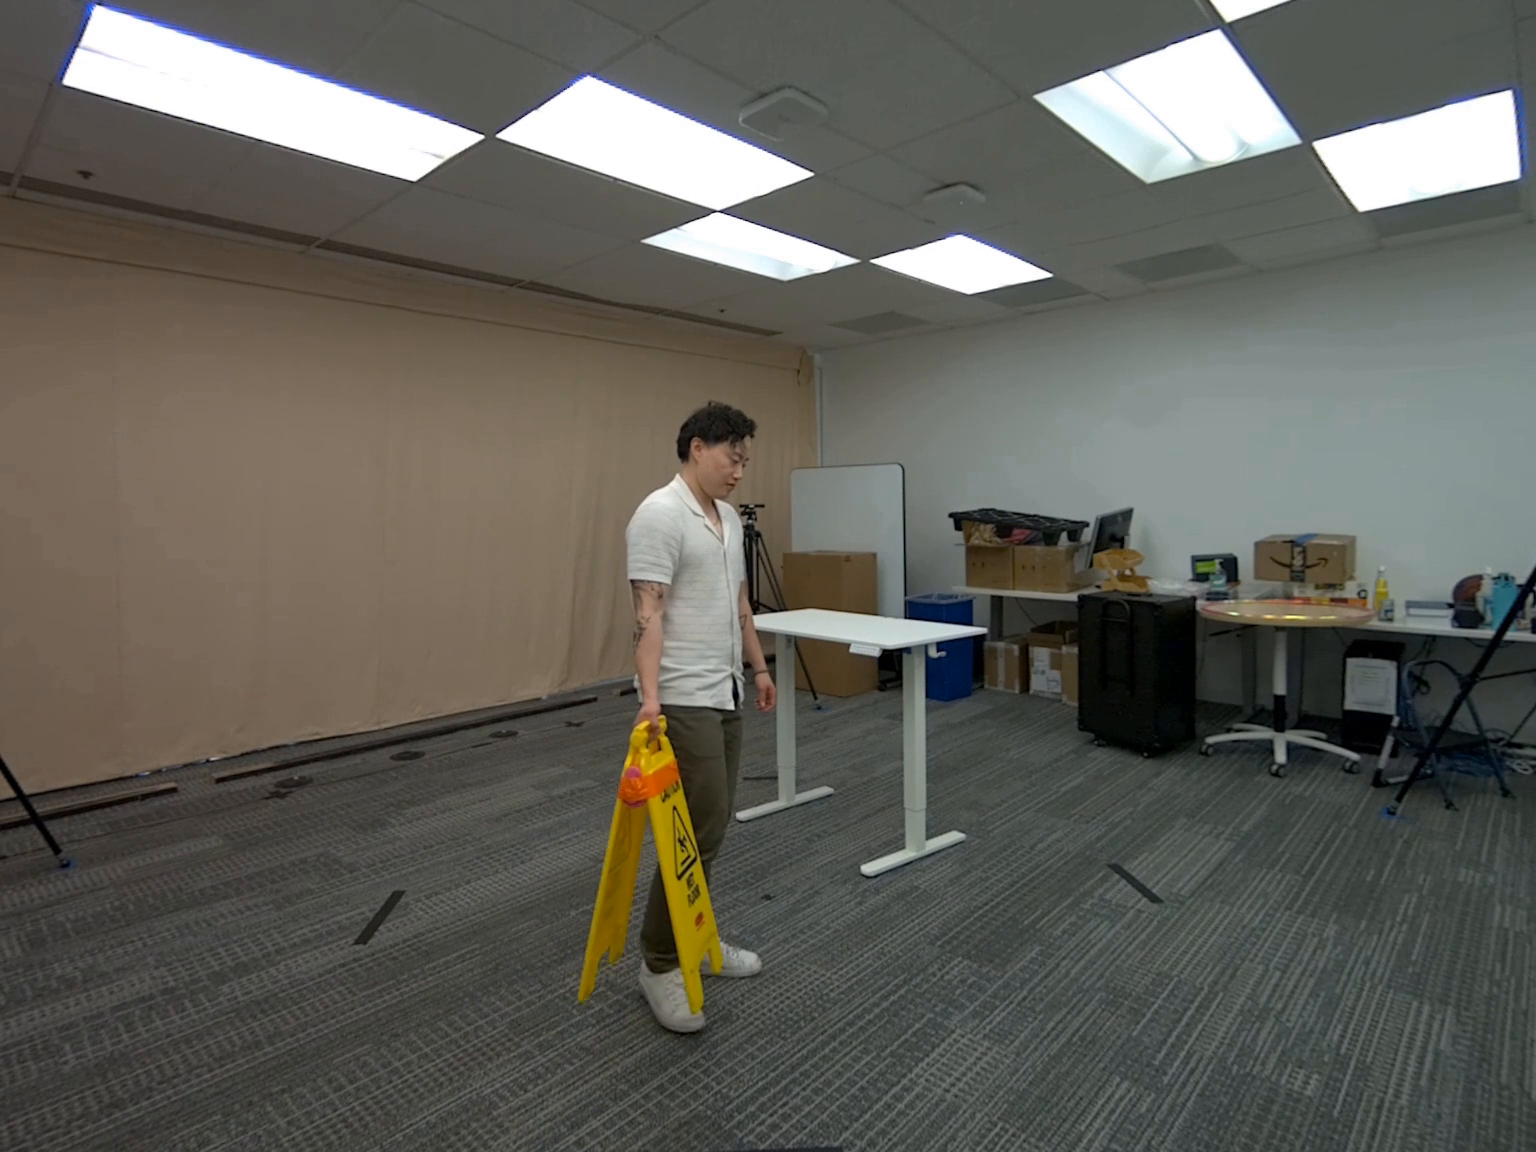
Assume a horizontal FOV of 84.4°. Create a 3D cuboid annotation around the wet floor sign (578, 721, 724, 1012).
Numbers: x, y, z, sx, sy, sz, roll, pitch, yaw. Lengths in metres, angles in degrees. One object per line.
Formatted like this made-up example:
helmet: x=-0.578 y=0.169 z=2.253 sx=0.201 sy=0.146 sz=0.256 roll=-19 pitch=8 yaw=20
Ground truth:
wet floor sign: x=-0.296 y=0.687 z=2.098 sx=0.293 sy=0.647 sz=0.278 roll=-2 pitch=-3 yaw=11
